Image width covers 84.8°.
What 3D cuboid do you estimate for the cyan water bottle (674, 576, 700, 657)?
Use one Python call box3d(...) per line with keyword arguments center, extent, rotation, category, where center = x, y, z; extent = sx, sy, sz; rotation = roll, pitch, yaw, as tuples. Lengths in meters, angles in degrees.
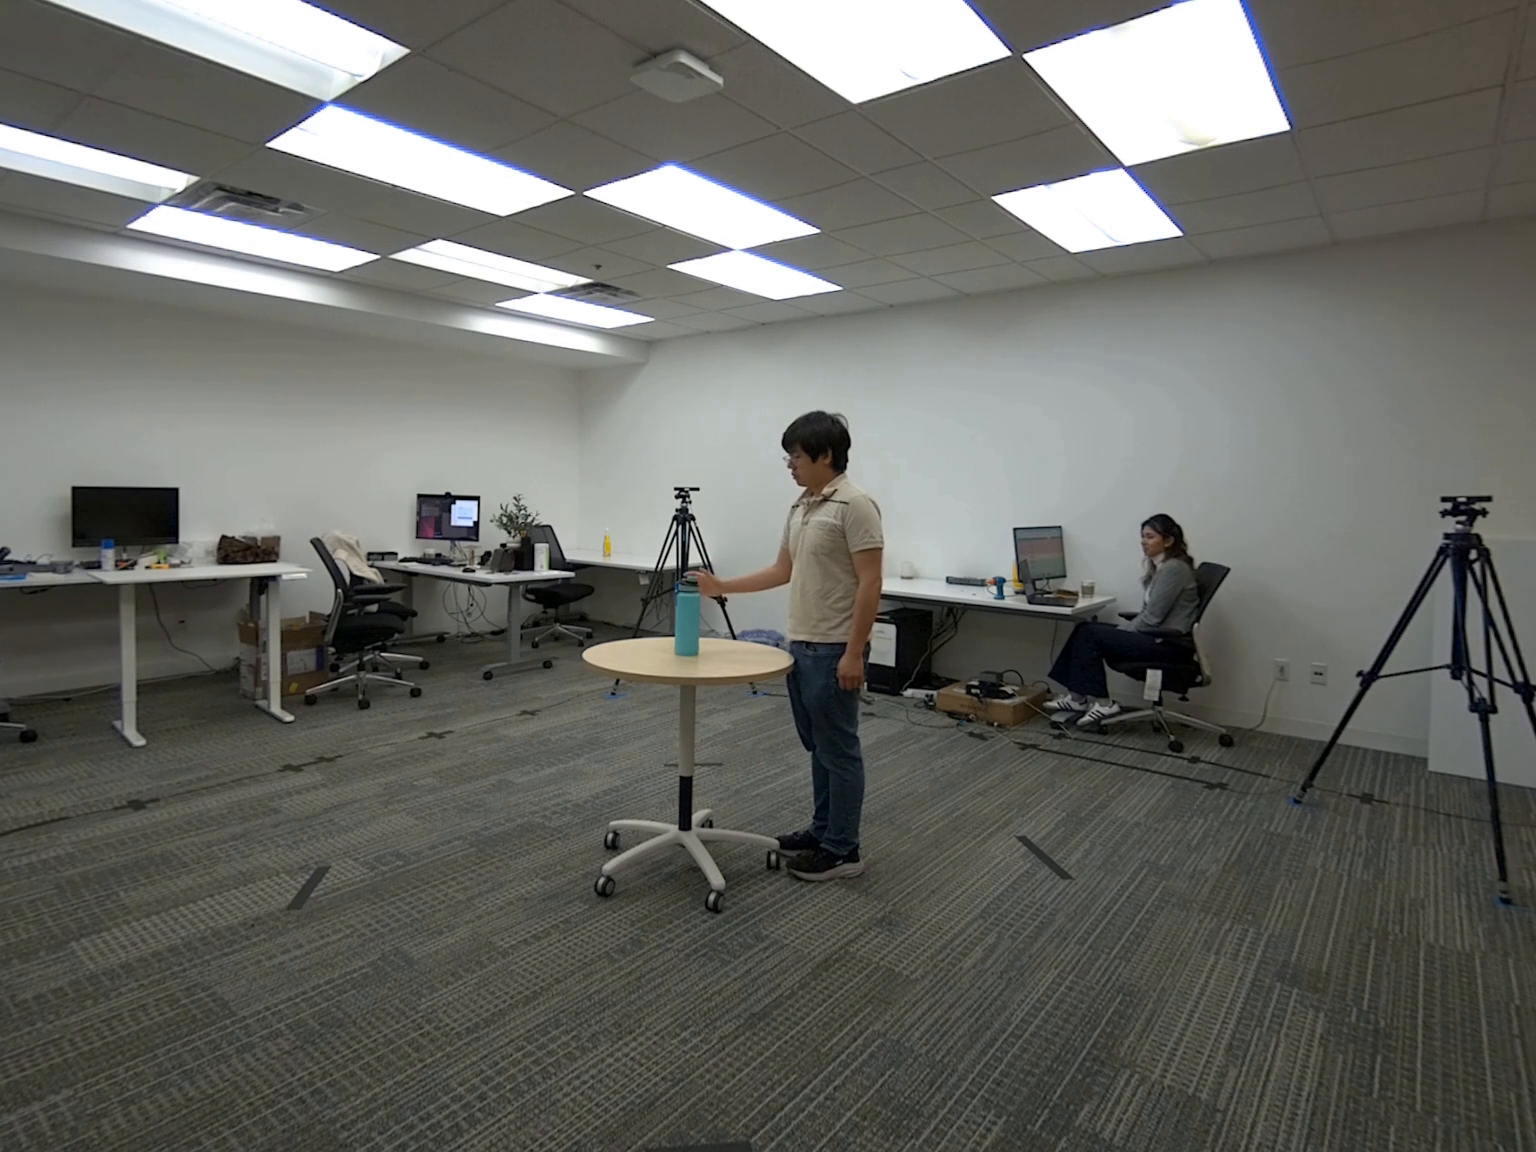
box3d(center=(-0.304, 0.143, 3.107), extent=(0.092, 0.283, 0.092), rotation=(1, 2, -2), category="cyan water bottle")
